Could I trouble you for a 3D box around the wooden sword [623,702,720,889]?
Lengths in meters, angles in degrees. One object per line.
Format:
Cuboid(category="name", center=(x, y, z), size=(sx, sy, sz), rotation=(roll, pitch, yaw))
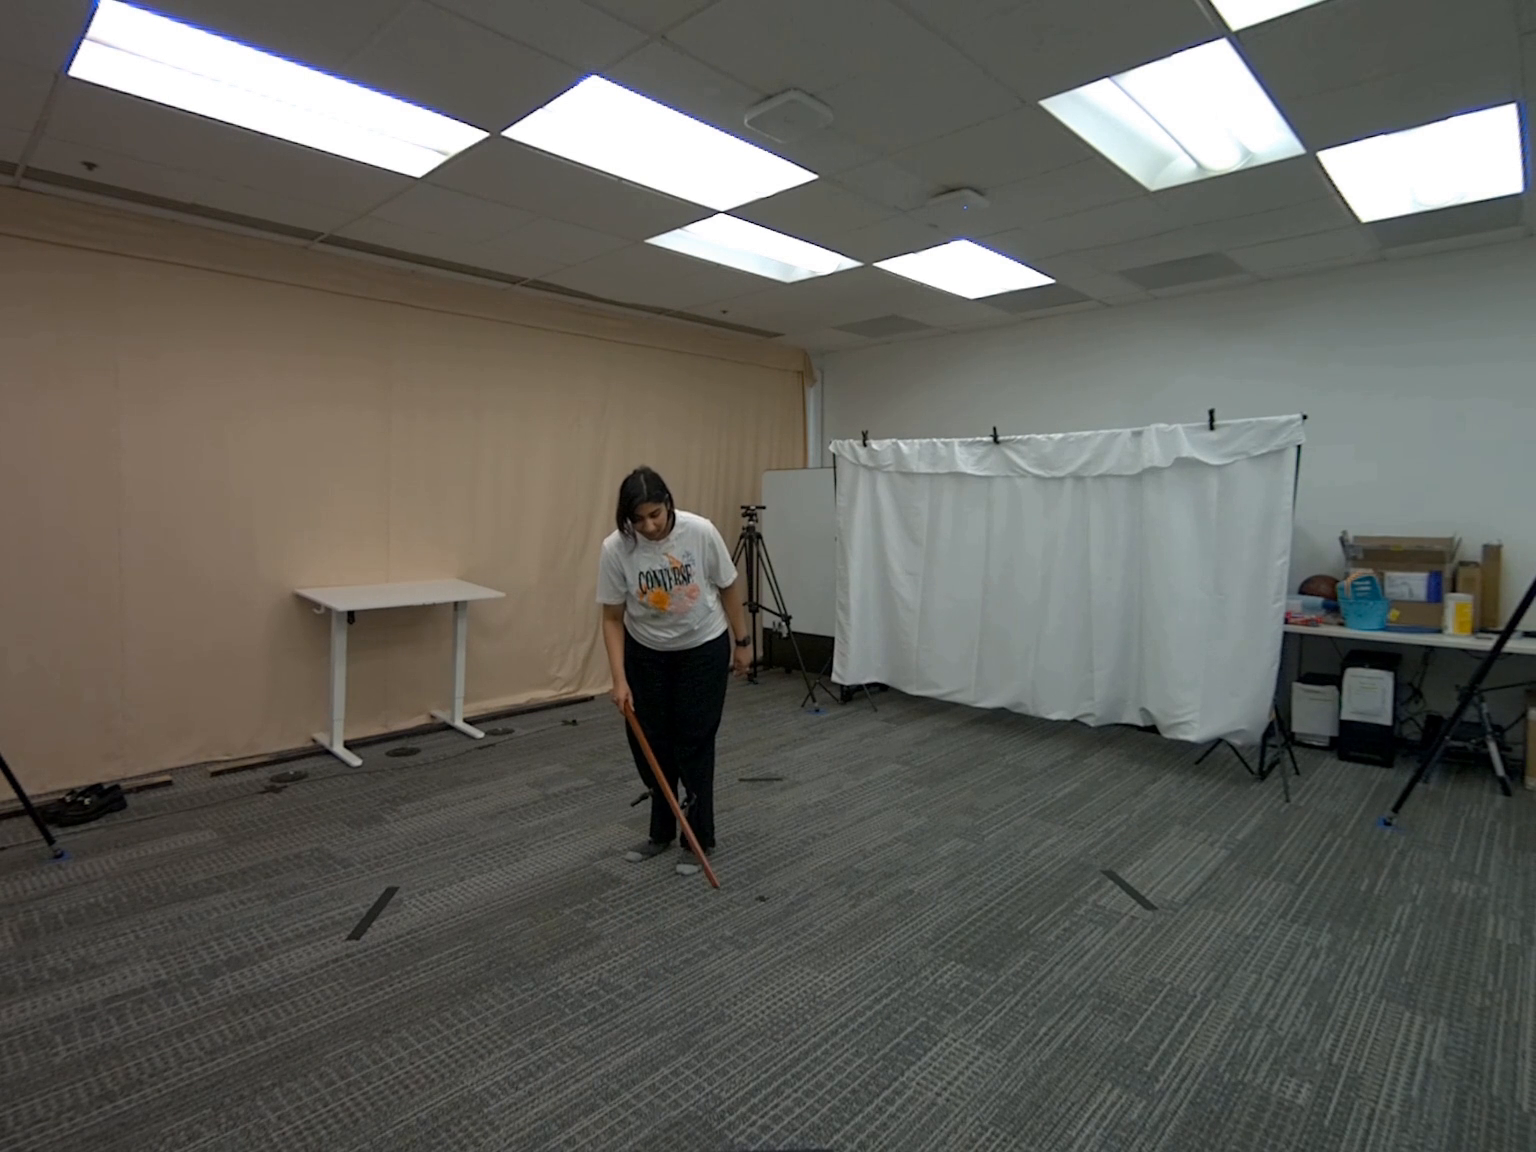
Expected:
Cuboid(category="wooden sword", center=(-0.319, 0.665, 2.752), size=(0.023, 0.051, 1.058), rotation=(11, 19, -28))
